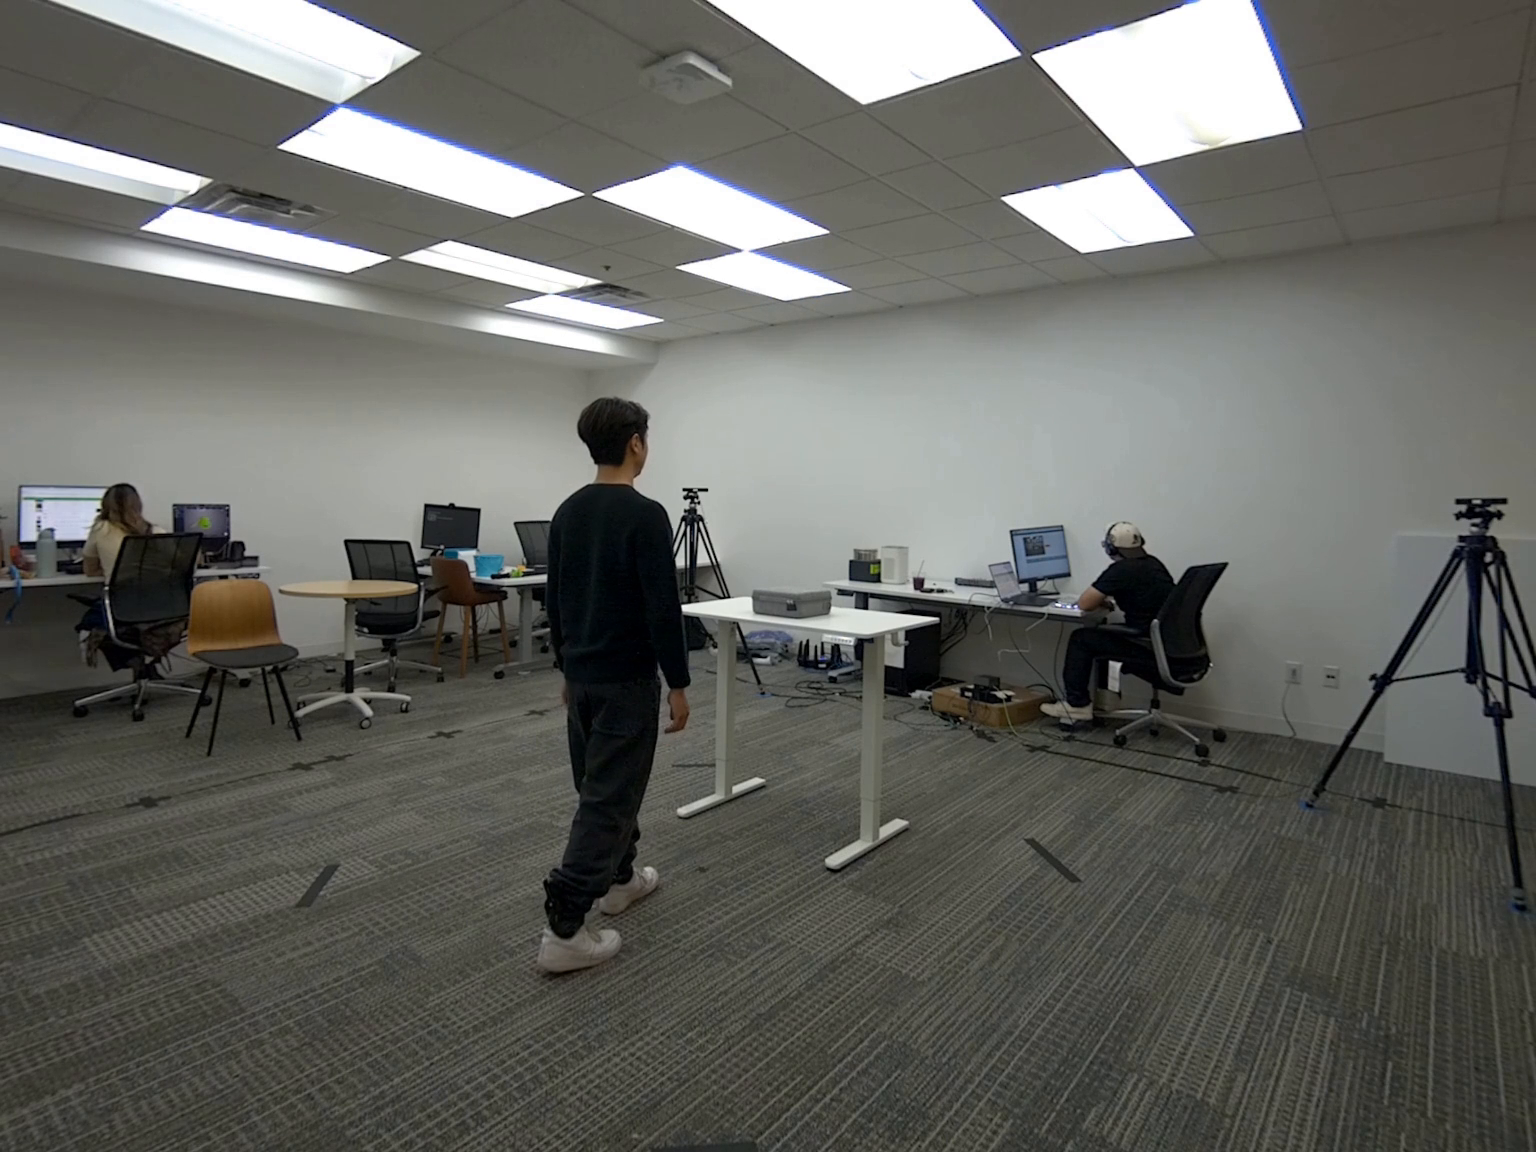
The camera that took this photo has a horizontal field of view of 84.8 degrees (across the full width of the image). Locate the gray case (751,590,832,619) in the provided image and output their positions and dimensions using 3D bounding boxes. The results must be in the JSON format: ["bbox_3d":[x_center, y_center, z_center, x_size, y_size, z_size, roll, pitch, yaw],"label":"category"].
[{"bbox_3d":[0.091,0.101,3.523,0.265,0.104,0.253,3,4,38],"label":"gray case"}]
